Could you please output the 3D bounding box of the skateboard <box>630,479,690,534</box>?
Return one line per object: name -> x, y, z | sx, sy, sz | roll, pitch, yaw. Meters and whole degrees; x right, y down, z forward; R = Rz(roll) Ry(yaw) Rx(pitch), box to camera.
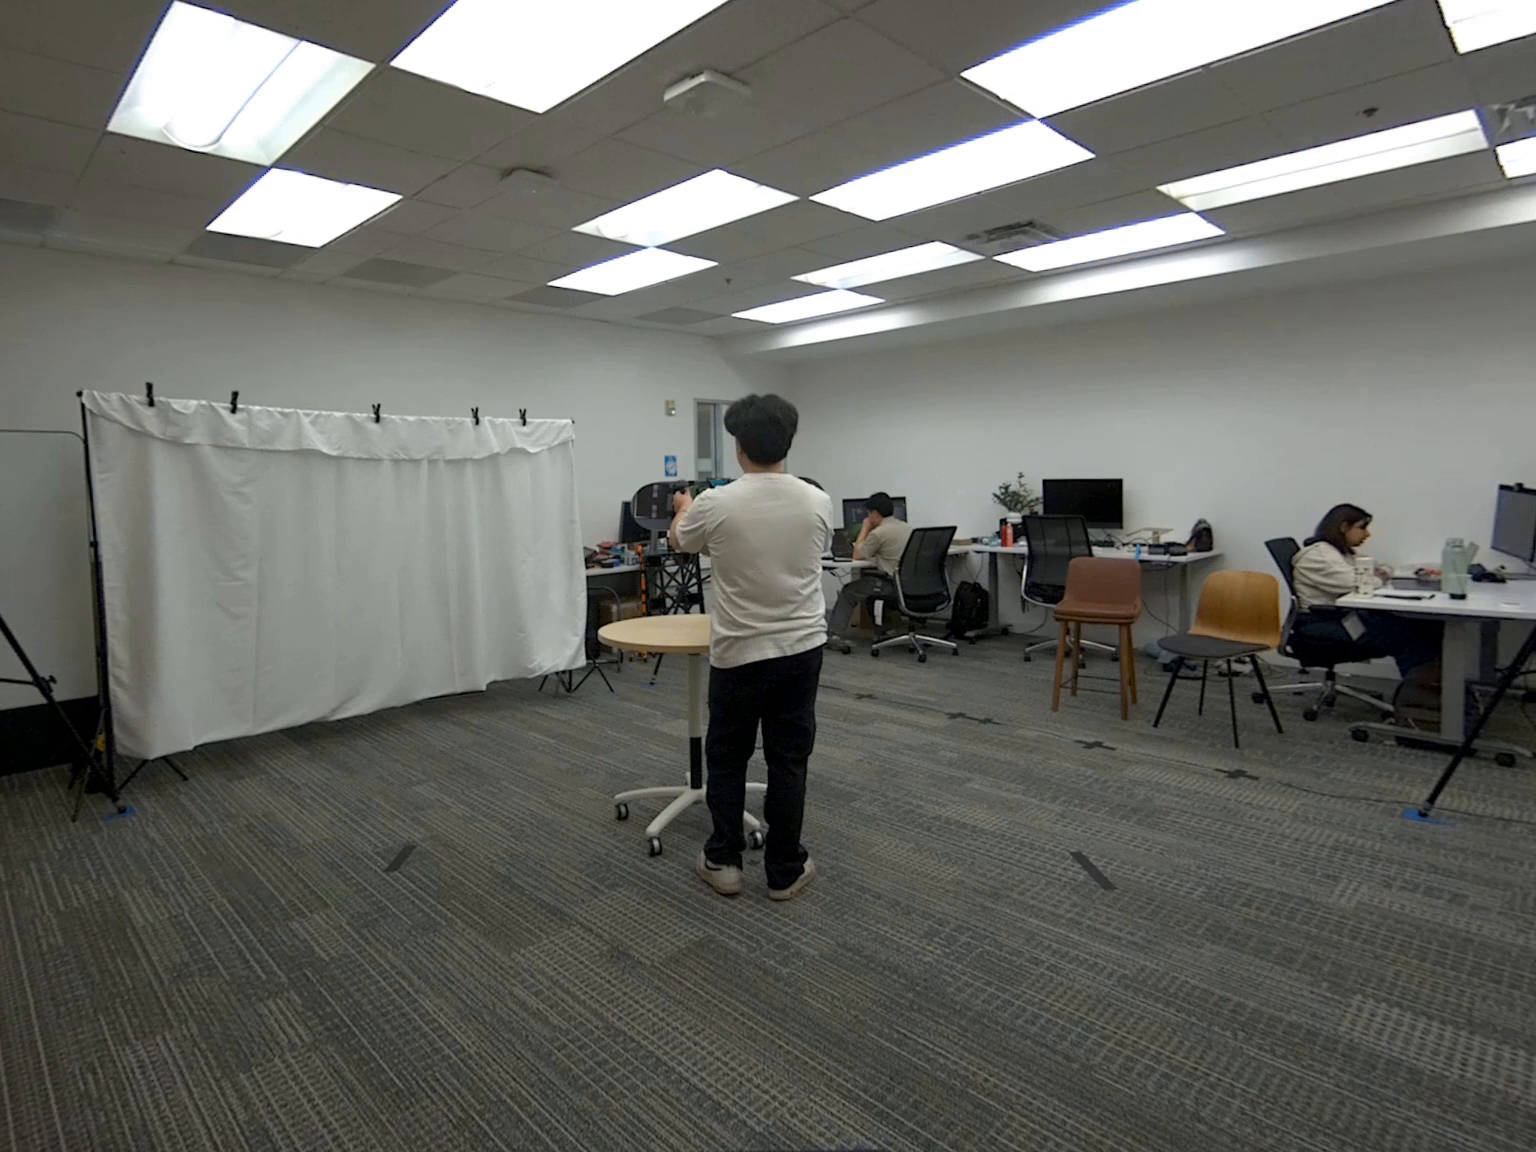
skateboard -> -0.113, -0.289, 3.346 | 0.778, 0.194, 0.111 | -3, -1, -10
